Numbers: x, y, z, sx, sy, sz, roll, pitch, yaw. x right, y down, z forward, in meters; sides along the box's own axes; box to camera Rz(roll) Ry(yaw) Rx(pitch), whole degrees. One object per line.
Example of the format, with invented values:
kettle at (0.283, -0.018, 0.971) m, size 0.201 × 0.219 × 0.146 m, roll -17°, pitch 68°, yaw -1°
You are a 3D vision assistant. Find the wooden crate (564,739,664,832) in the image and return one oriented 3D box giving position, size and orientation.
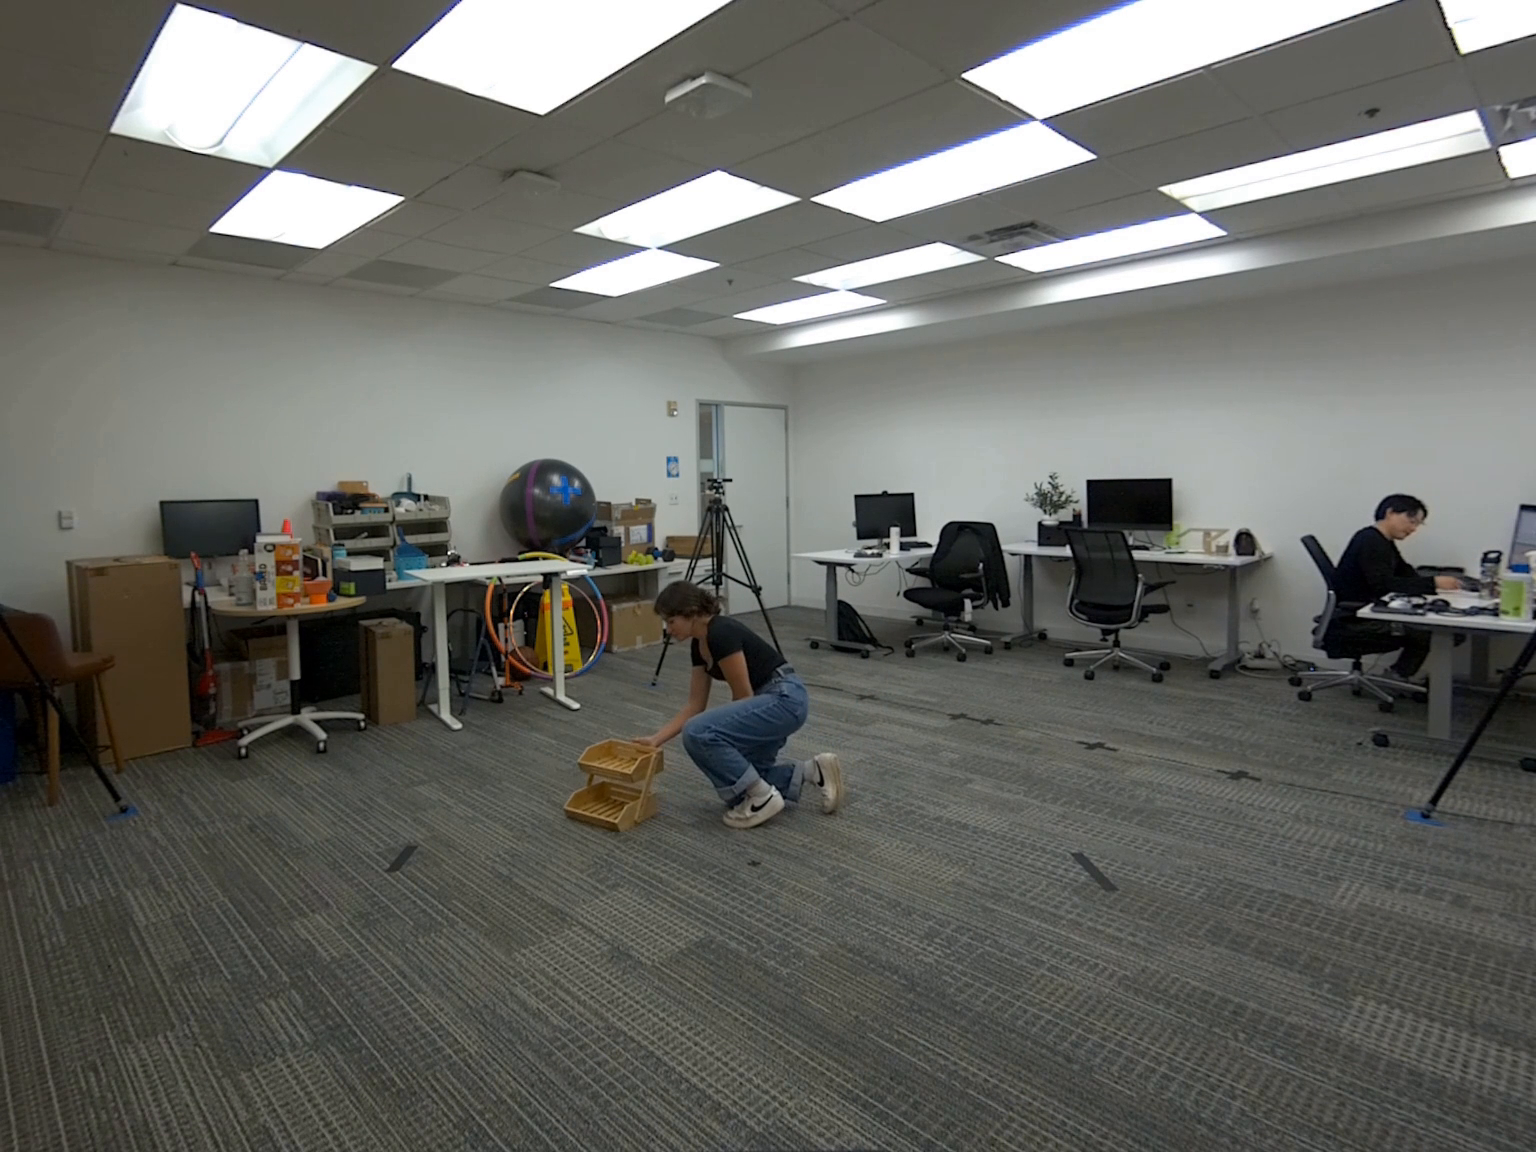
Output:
wooden crate at (-0.646, 0.866, 3.583) m, size 0.333 × 0.272 × 0.295 m, roll 2°, pitch 5°, yaw 34°
